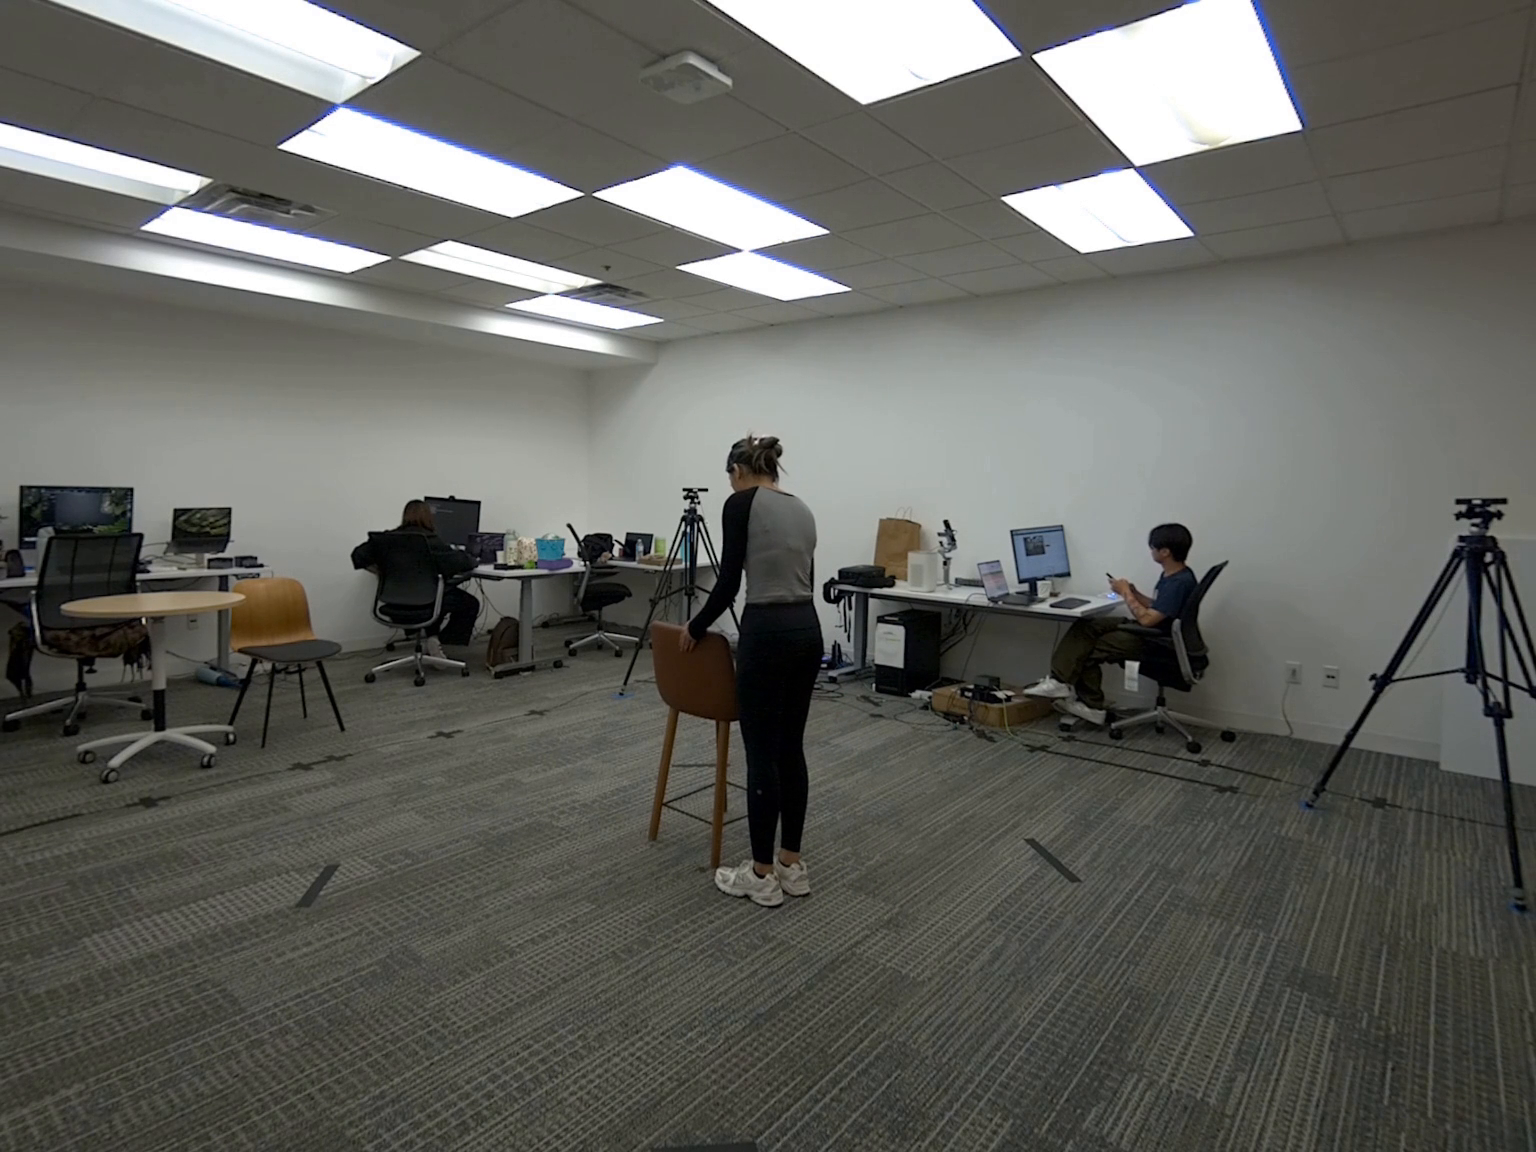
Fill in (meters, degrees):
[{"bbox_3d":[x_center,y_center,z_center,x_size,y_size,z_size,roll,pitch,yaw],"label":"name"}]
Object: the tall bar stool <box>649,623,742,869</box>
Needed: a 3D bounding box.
[{"bbox_3d":[-0.199,0.607,3.378,0.472,0.886,0.454,4,6,42],"label":"tall bar stool"}]
